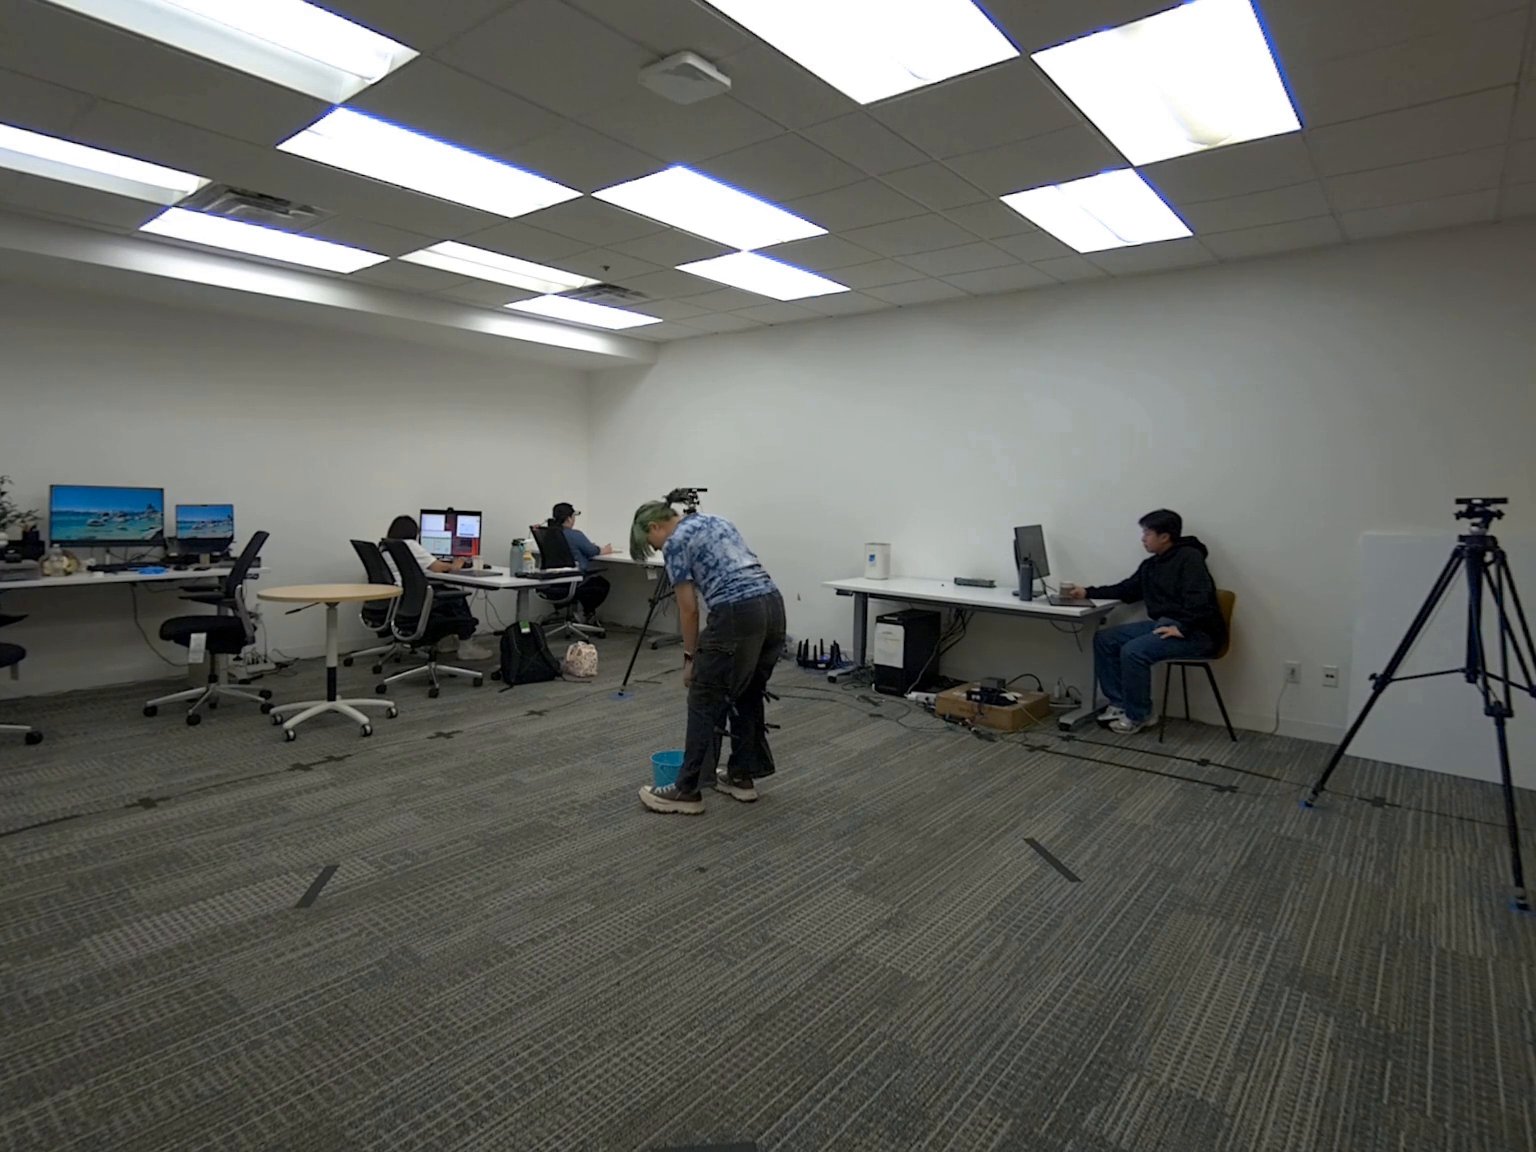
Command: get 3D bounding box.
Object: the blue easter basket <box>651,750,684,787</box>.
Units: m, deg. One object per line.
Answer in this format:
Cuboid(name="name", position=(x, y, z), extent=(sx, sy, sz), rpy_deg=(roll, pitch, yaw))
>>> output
Cuboid(name="blue easter basket", position=(-0.436, 0.908, 3.926), extent=(0.243, 0.155, 0.245), rpy_deg=(0, 5, -2))
